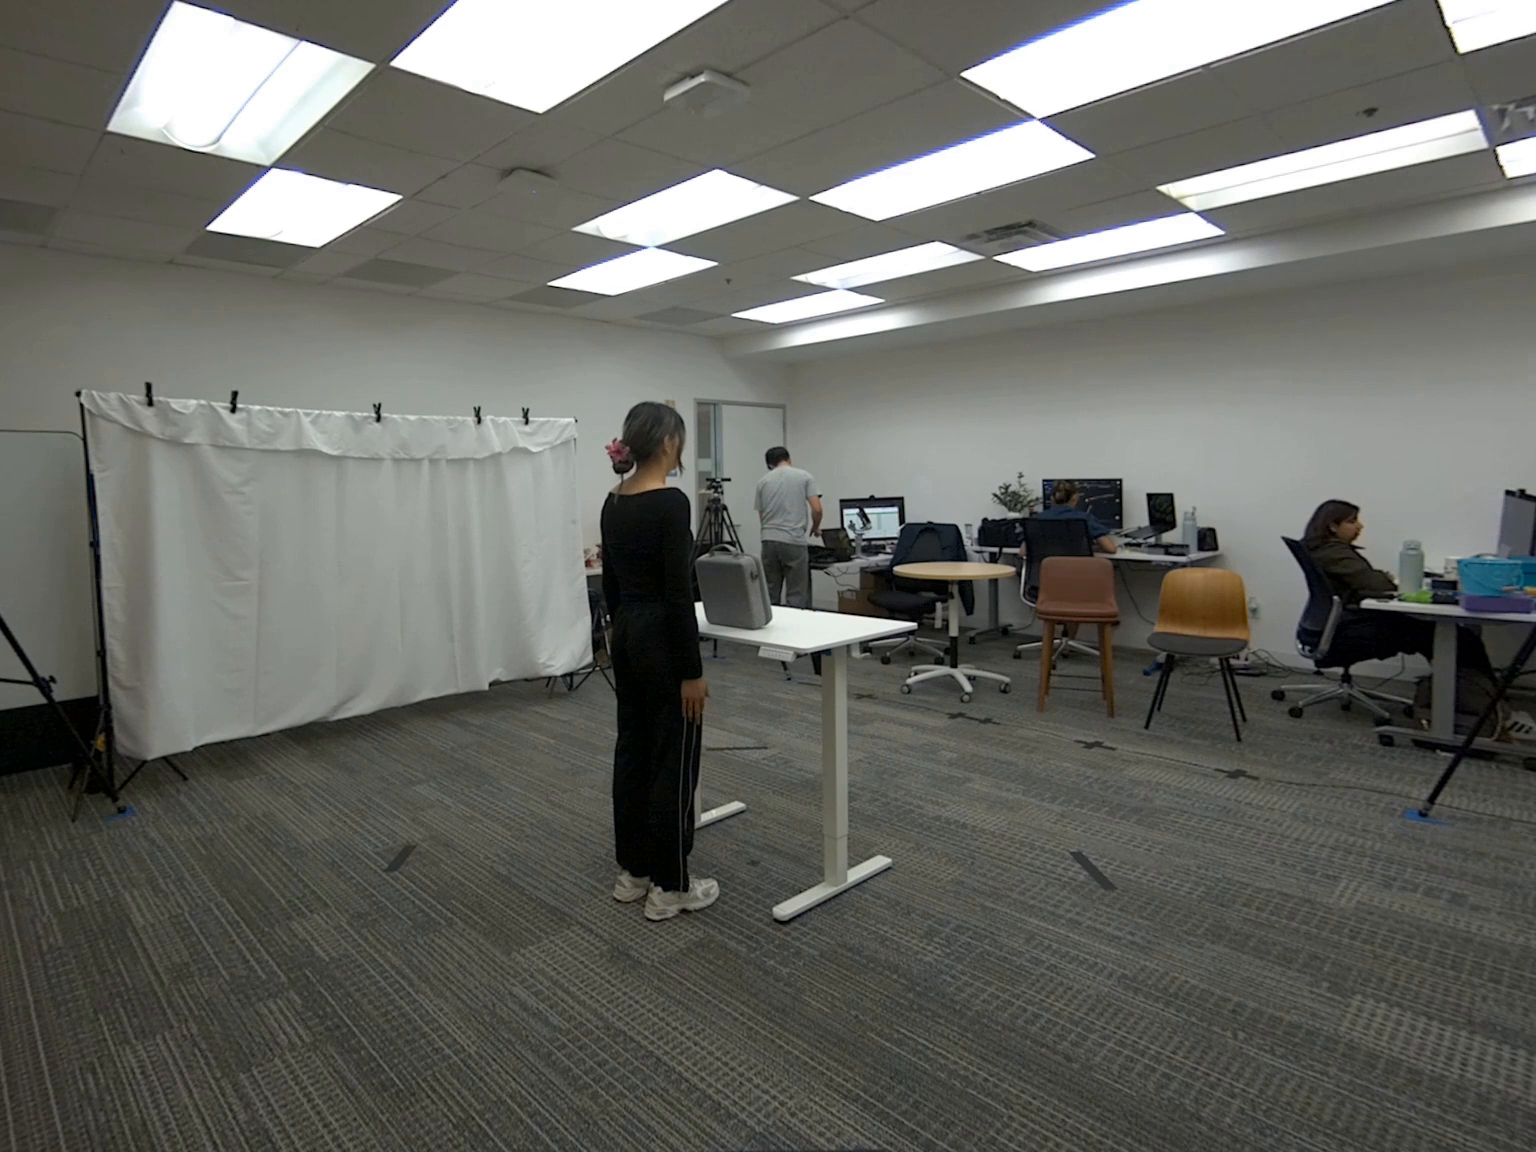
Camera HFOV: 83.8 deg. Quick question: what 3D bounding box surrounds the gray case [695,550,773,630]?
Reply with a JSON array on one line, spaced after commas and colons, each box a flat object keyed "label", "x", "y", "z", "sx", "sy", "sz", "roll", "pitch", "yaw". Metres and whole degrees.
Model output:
[{"label": "gray case", "x": -0.117, "y": 0.045, "z": 2.956, "sx": 0.102, "sy": 0.257, "sz": 0.265, "roll": -19, "pitch": 15, "yaw": -41}]
